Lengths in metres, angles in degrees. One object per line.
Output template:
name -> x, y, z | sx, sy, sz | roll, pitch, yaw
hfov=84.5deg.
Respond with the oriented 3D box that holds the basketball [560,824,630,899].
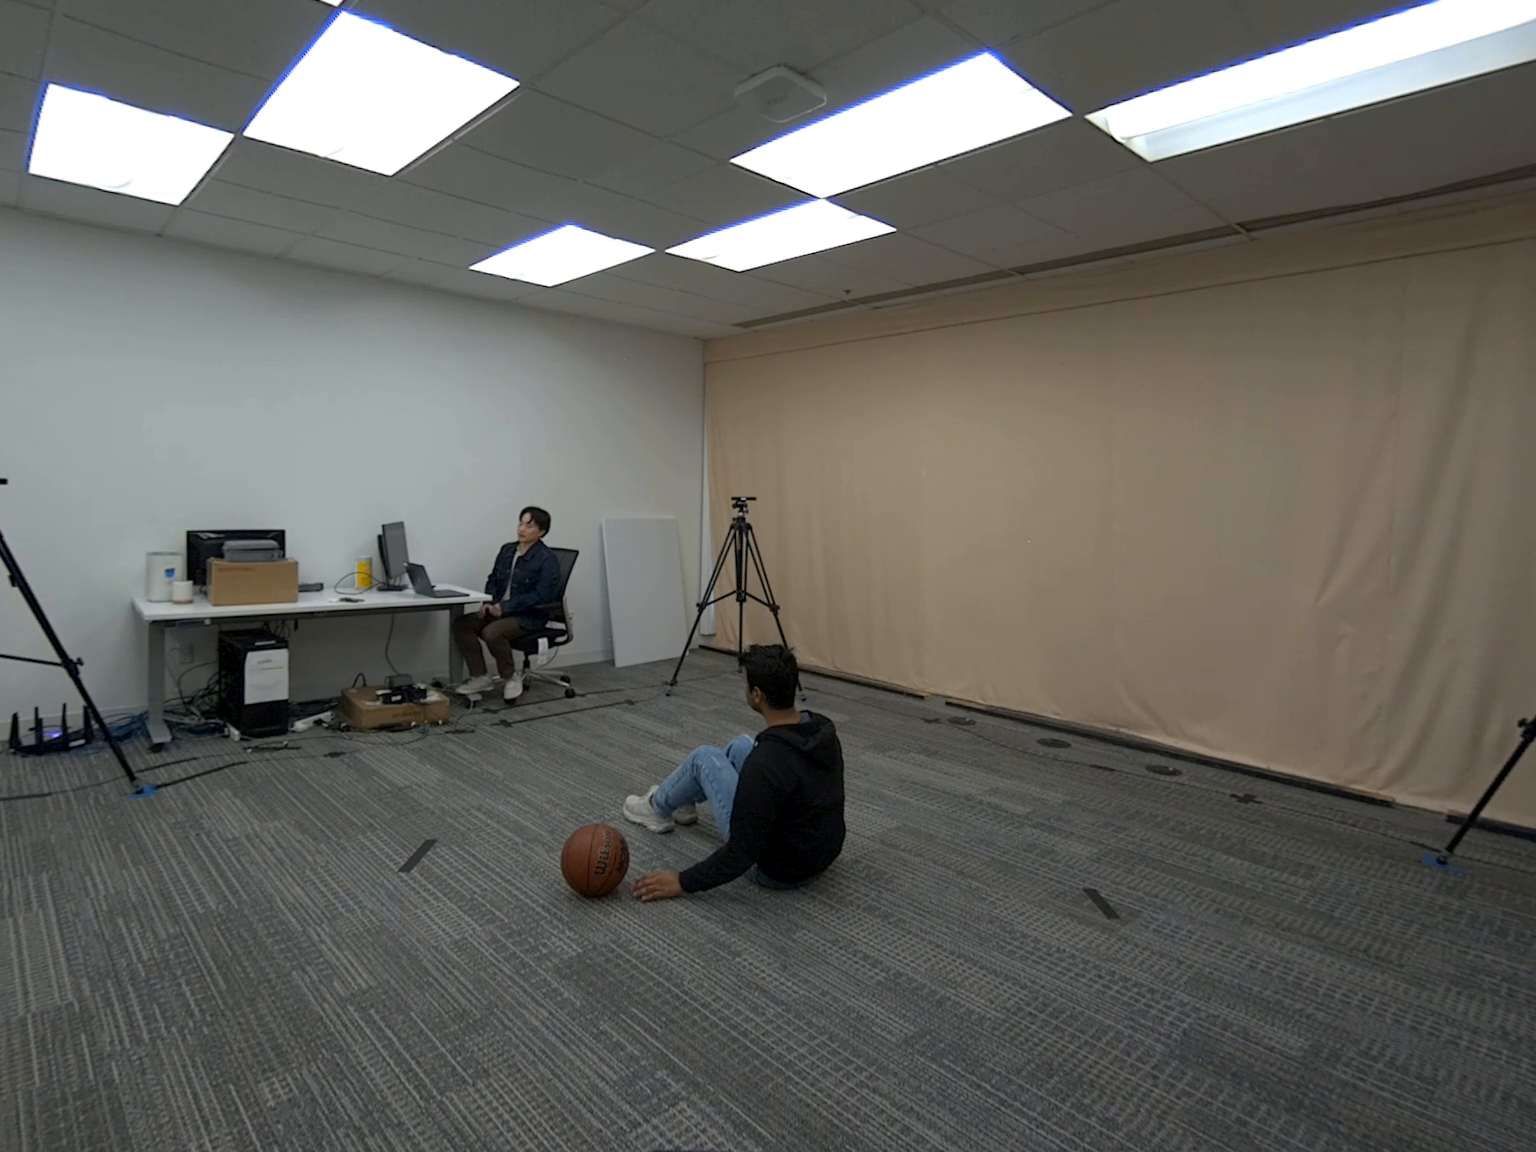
basketball -> -0.604, 0.984, 2.947 | 0.236, 0.235, 0.237 | 1, 4, -1
